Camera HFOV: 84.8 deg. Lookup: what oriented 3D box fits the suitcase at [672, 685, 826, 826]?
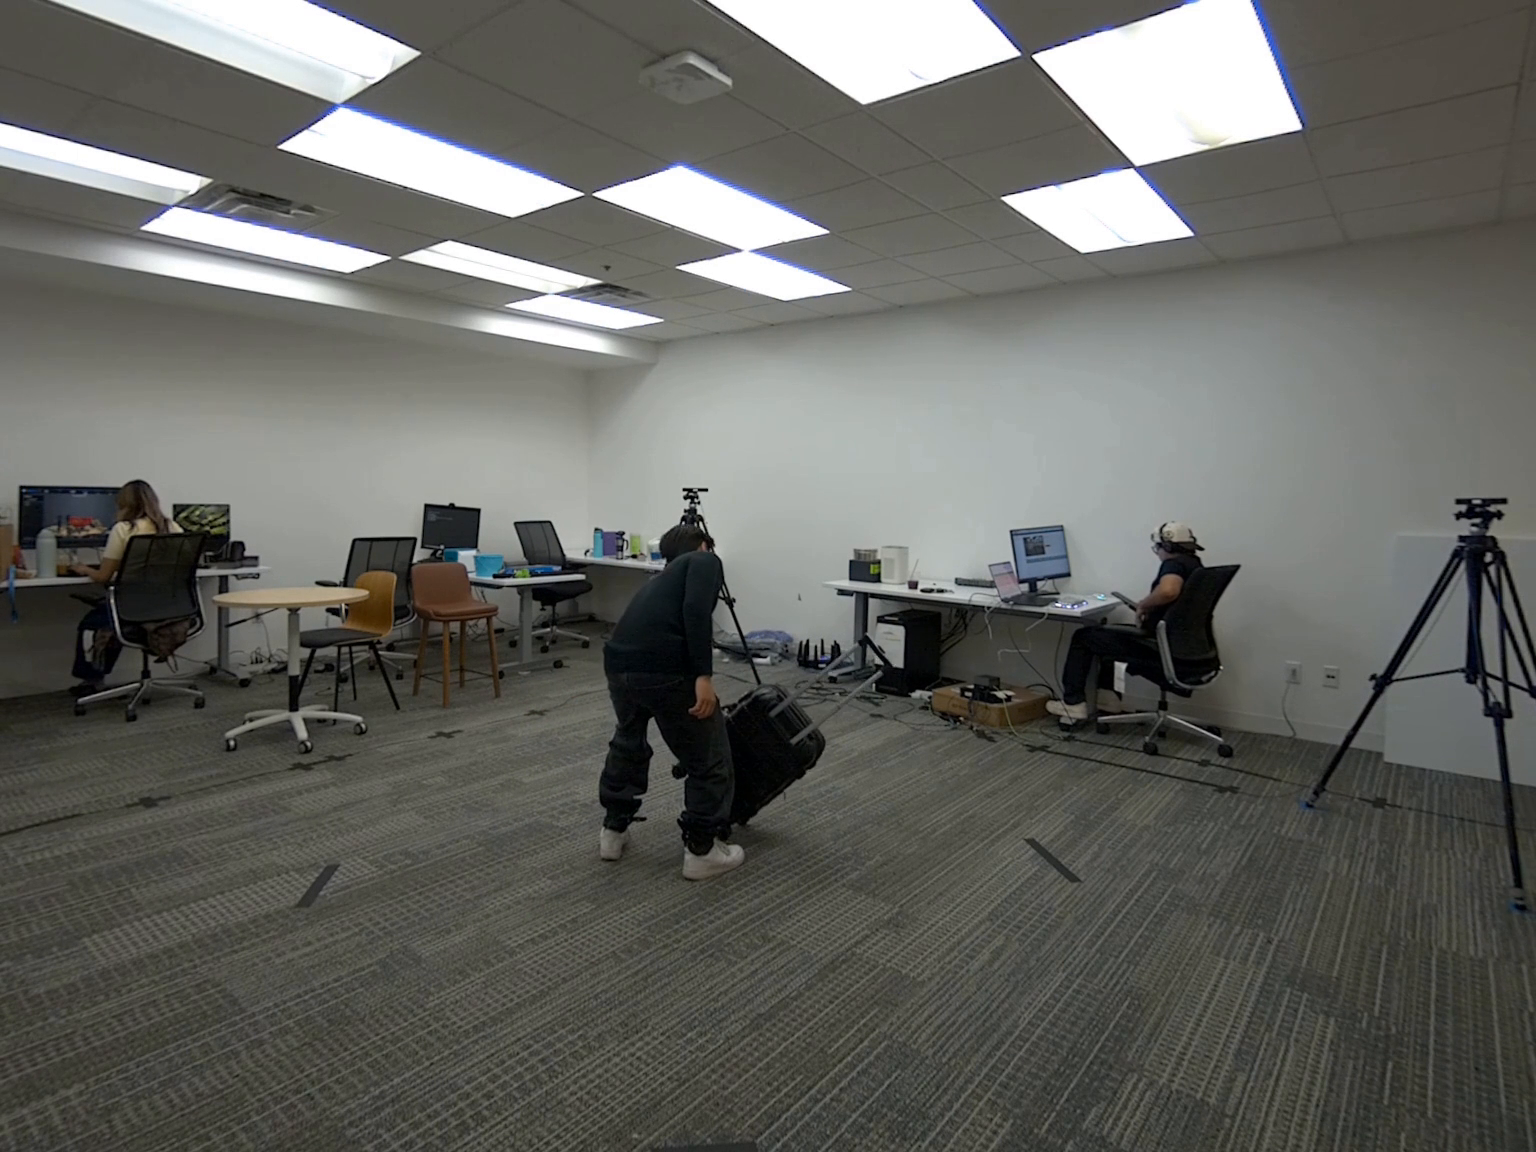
[{"bbox_3d":[0.060,0.575,3.368,0.980,0.392,0.252,-43,-14,15],"label":"suitcase"}]
